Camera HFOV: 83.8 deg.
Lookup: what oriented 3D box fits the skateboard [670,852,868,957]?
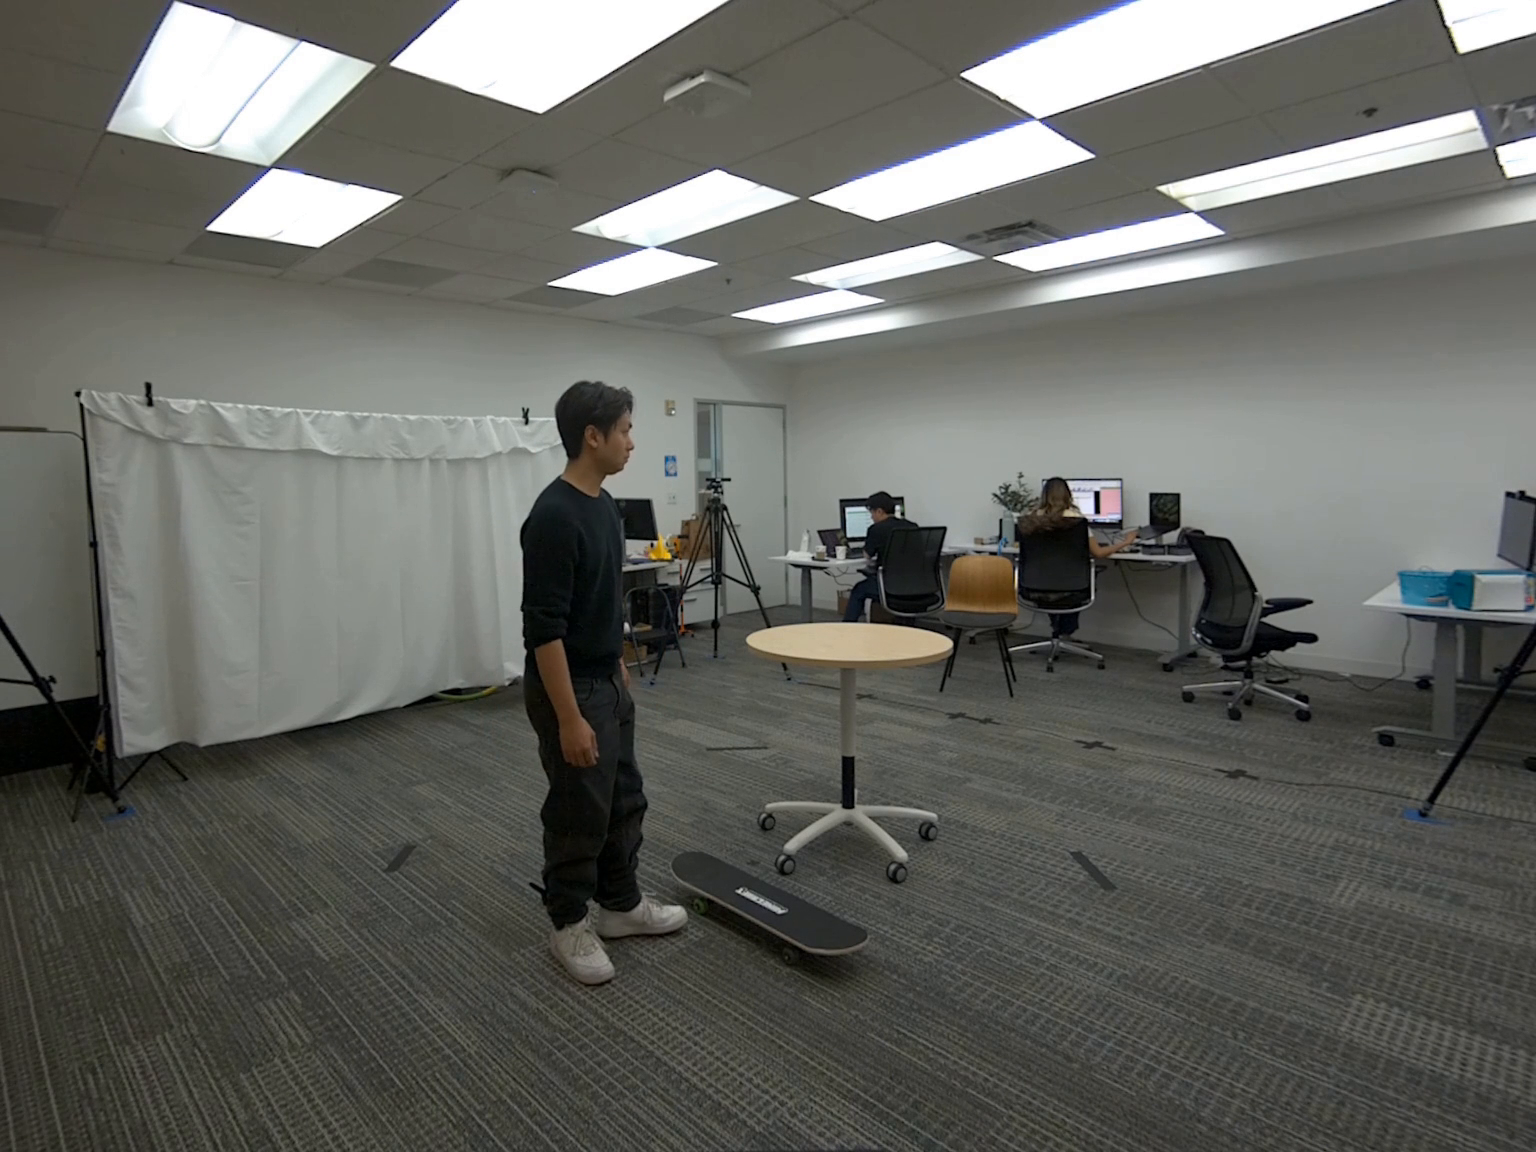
[{"bbox_3d":[-0.016,1.043,2.648,0.188,0.110,0.810,-7,9,-43],"label":"skateboard"}]
